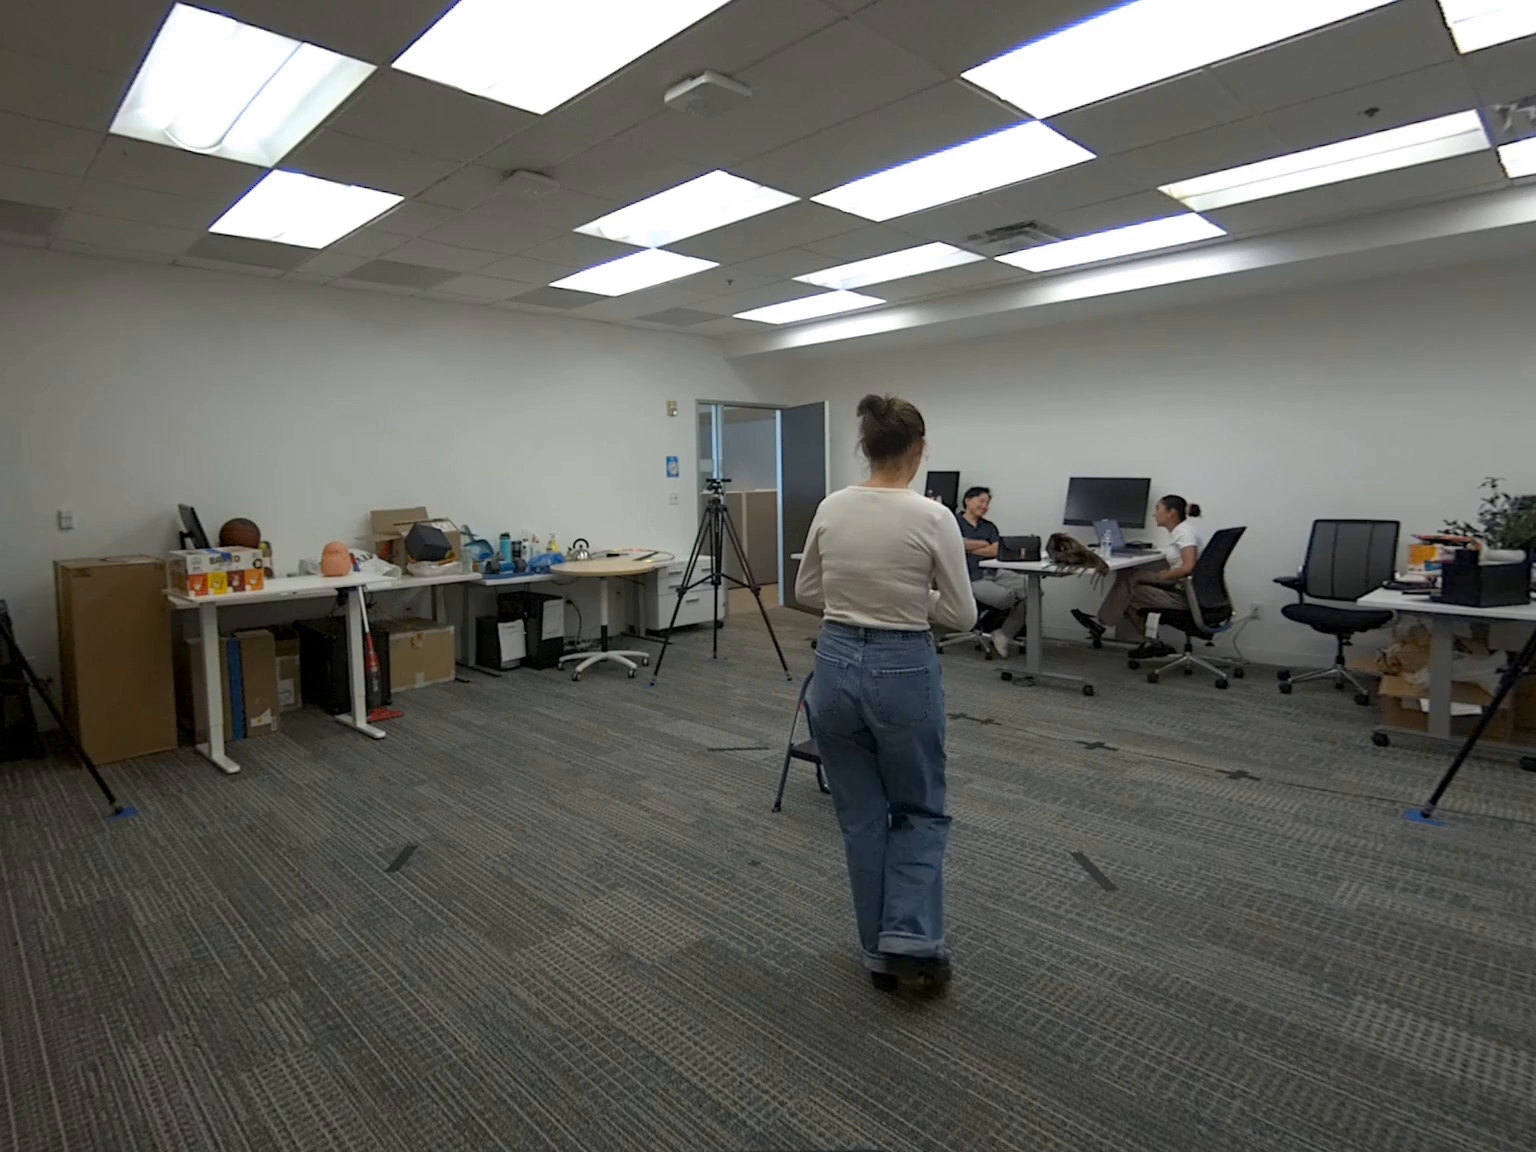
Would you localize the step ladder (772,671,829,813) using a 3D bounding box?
[{"bbox_3d":[0.289,0.687,3.551,0.444,0.604,0.340,4,6,42],"label":"step ladder"}]
